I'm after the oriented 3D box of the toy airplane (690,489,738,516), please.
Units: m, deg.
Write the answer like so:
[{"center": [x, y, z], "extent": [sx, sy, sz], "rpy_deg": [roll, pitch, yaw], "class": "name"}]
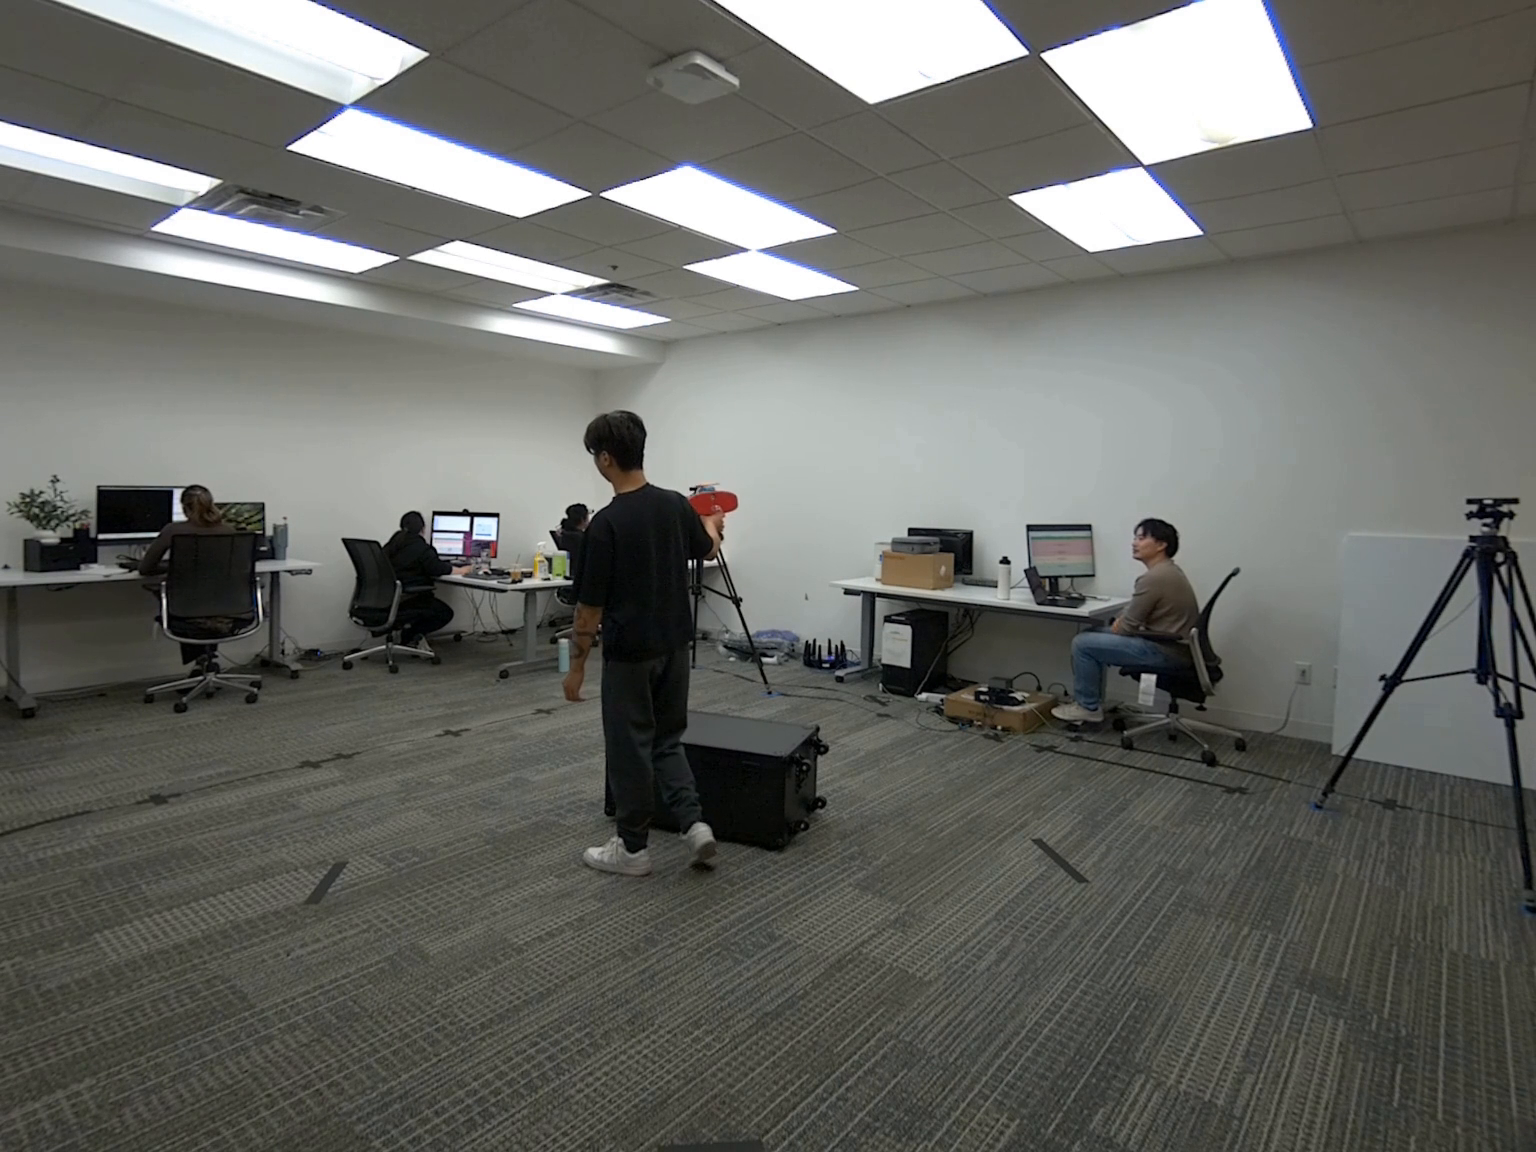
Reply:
[{"center": [-0.253, -0.260, 3.616], "extent": [0.250, 0.260, 0.157], "rpy_deg": [-41, 0, -35], "class": "toy airplane"}]
